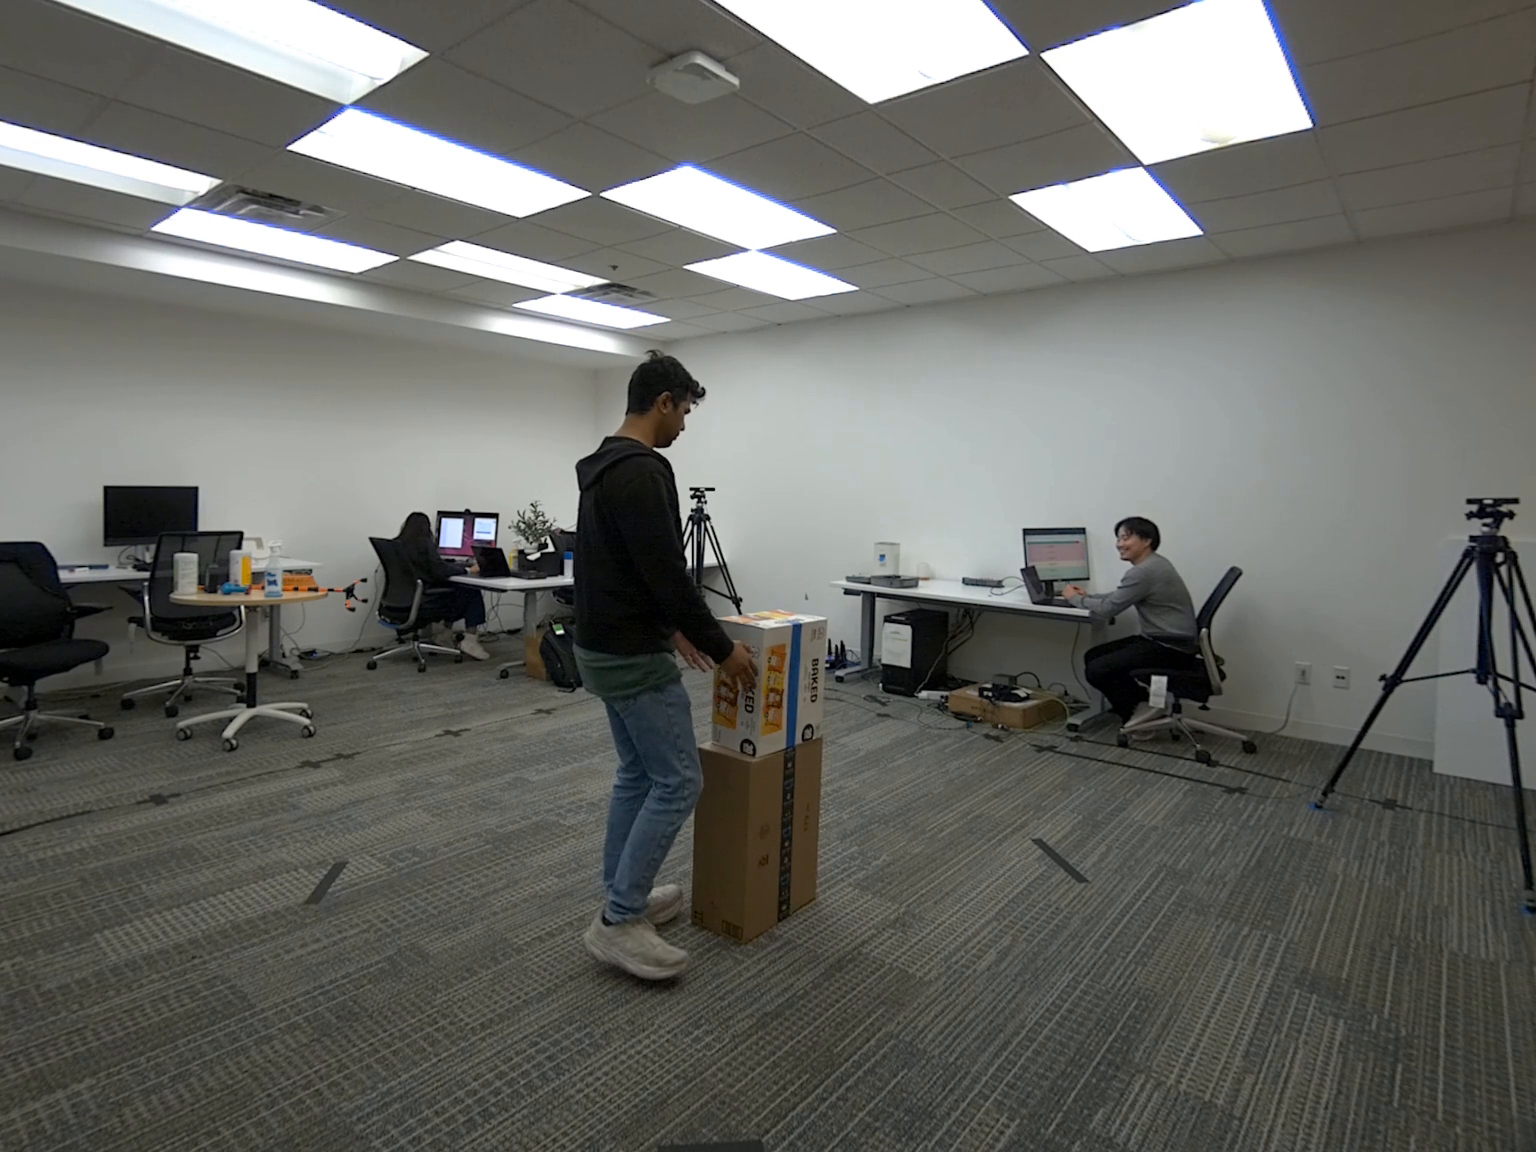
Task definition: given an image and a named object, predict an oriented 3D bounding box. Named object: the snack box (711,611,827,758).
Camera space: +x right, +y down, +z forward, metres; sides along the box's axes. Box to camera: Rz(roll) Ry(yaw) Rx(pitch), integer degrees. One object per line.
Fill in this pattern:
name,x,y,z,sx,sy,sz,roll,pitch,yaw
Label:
snack box,-0.005,0.335,2.778,0.213,0.403,0.330,6,6,40
